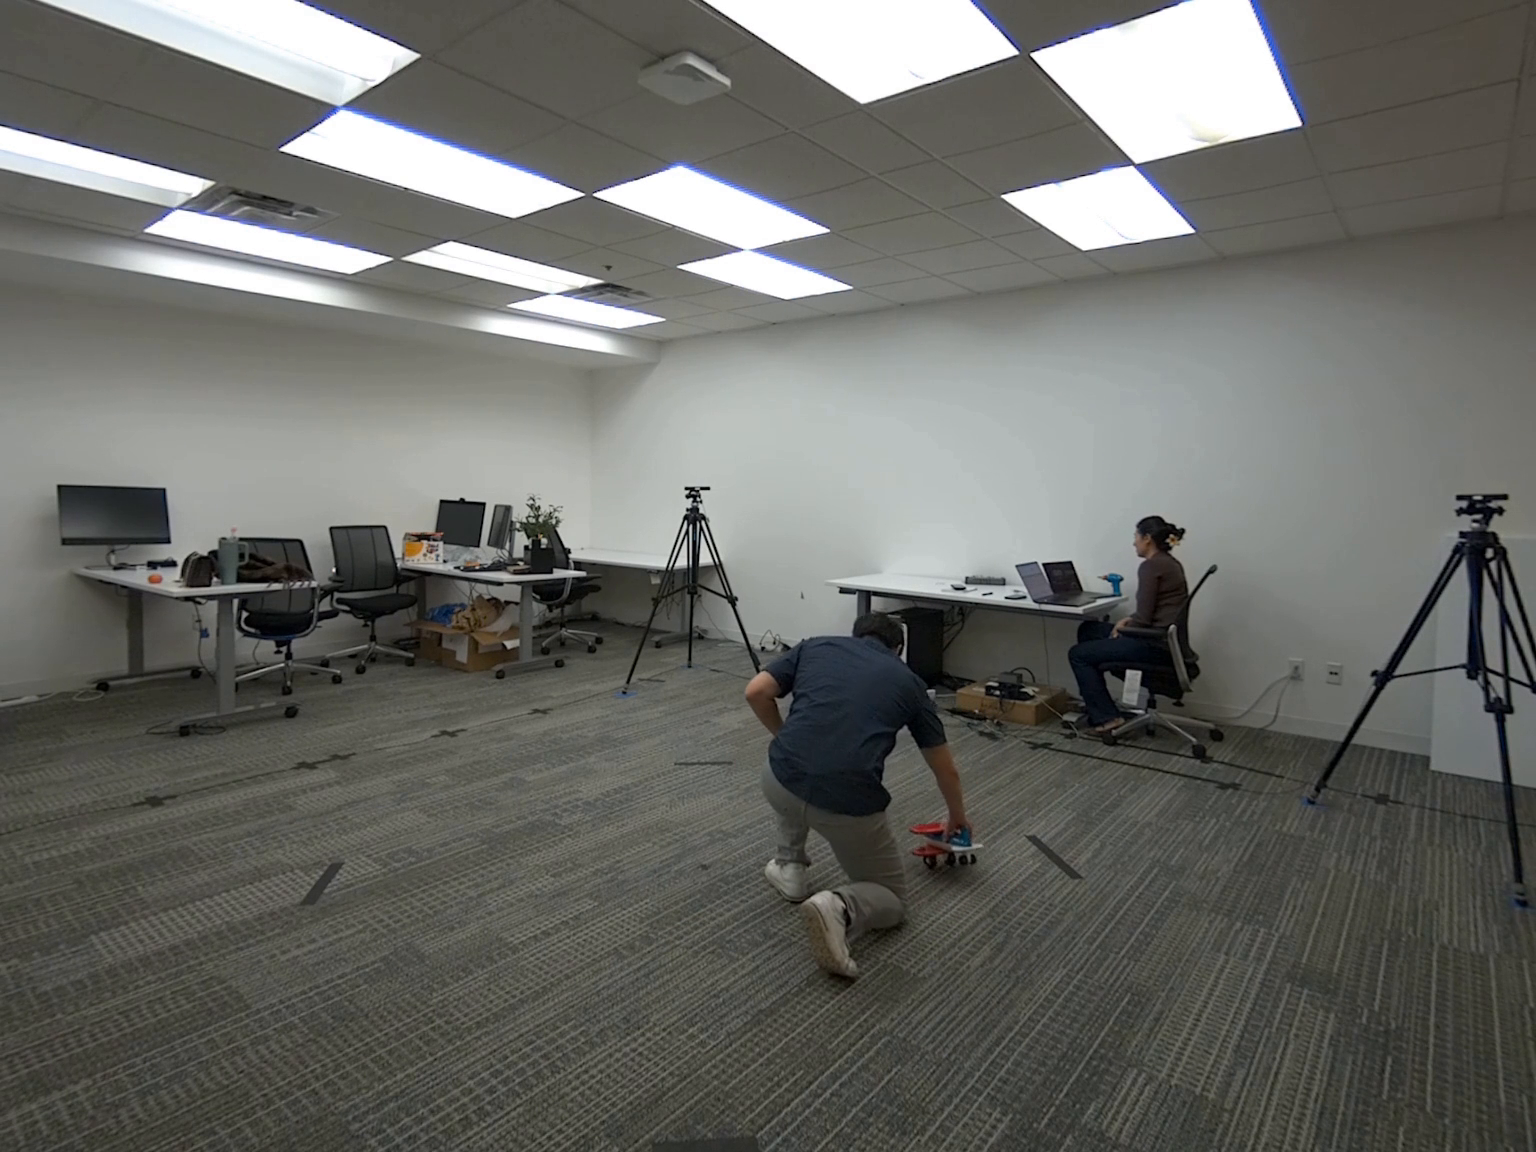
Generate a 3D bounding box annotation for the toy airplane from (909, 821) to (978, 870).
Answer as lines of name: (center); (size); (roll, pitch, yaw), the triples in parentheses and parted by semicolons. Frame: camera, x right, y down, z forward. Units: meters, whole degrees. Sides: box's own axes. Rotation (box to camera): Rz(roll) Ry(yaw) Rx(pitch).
toy airplane: (0.673, 0.984, 3.122); (0.263, 0.160, 0.242); (-22, -23, 36)
